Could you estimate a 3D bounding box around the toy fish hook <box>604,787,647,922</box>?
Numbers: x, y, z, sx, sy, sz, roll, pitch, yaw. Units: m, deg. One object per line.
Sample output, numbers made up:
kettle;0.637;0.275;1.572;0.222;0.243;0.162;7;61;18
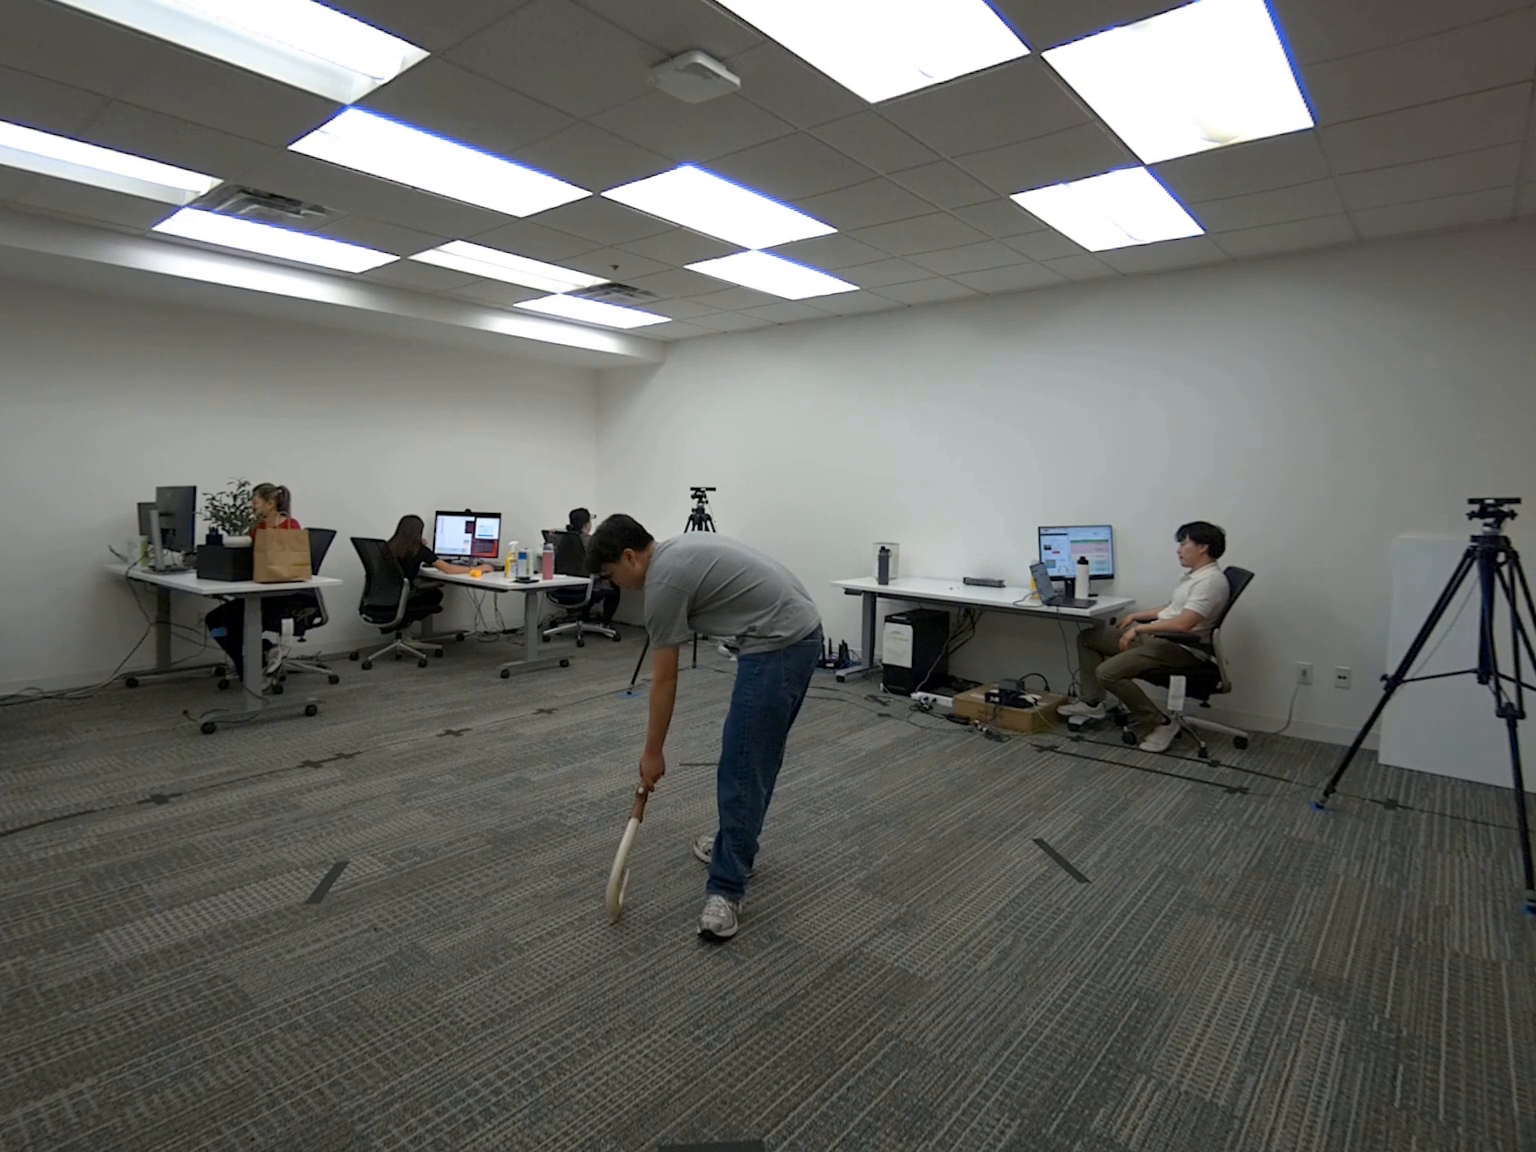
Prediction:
toy fish hook;-0.460;0.890;2.844;0.049;0.219;0.515;12;46;4
